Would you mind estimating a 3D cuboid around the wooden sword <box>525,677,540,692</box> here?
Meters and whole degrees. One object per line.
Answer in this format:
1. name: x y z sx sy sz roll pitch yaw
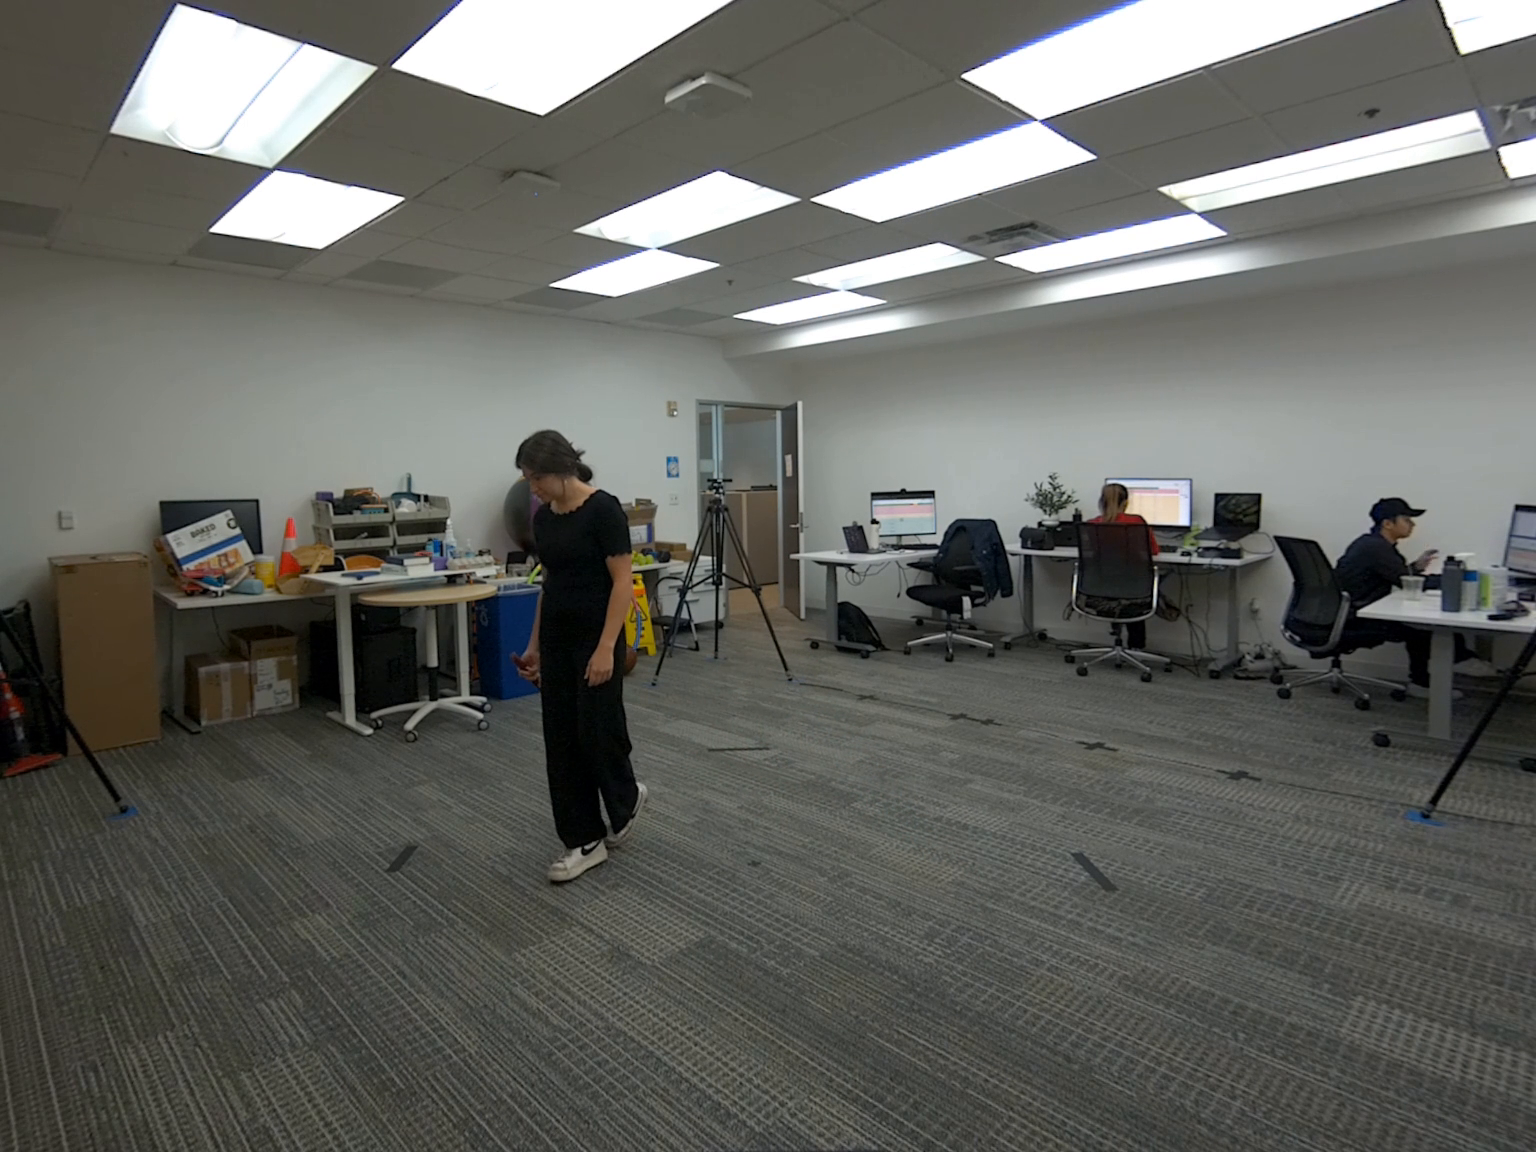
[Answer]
1. wooden sword: -0.732 0.651 3.443 0.052 0.987 0.024 -4 46 33
